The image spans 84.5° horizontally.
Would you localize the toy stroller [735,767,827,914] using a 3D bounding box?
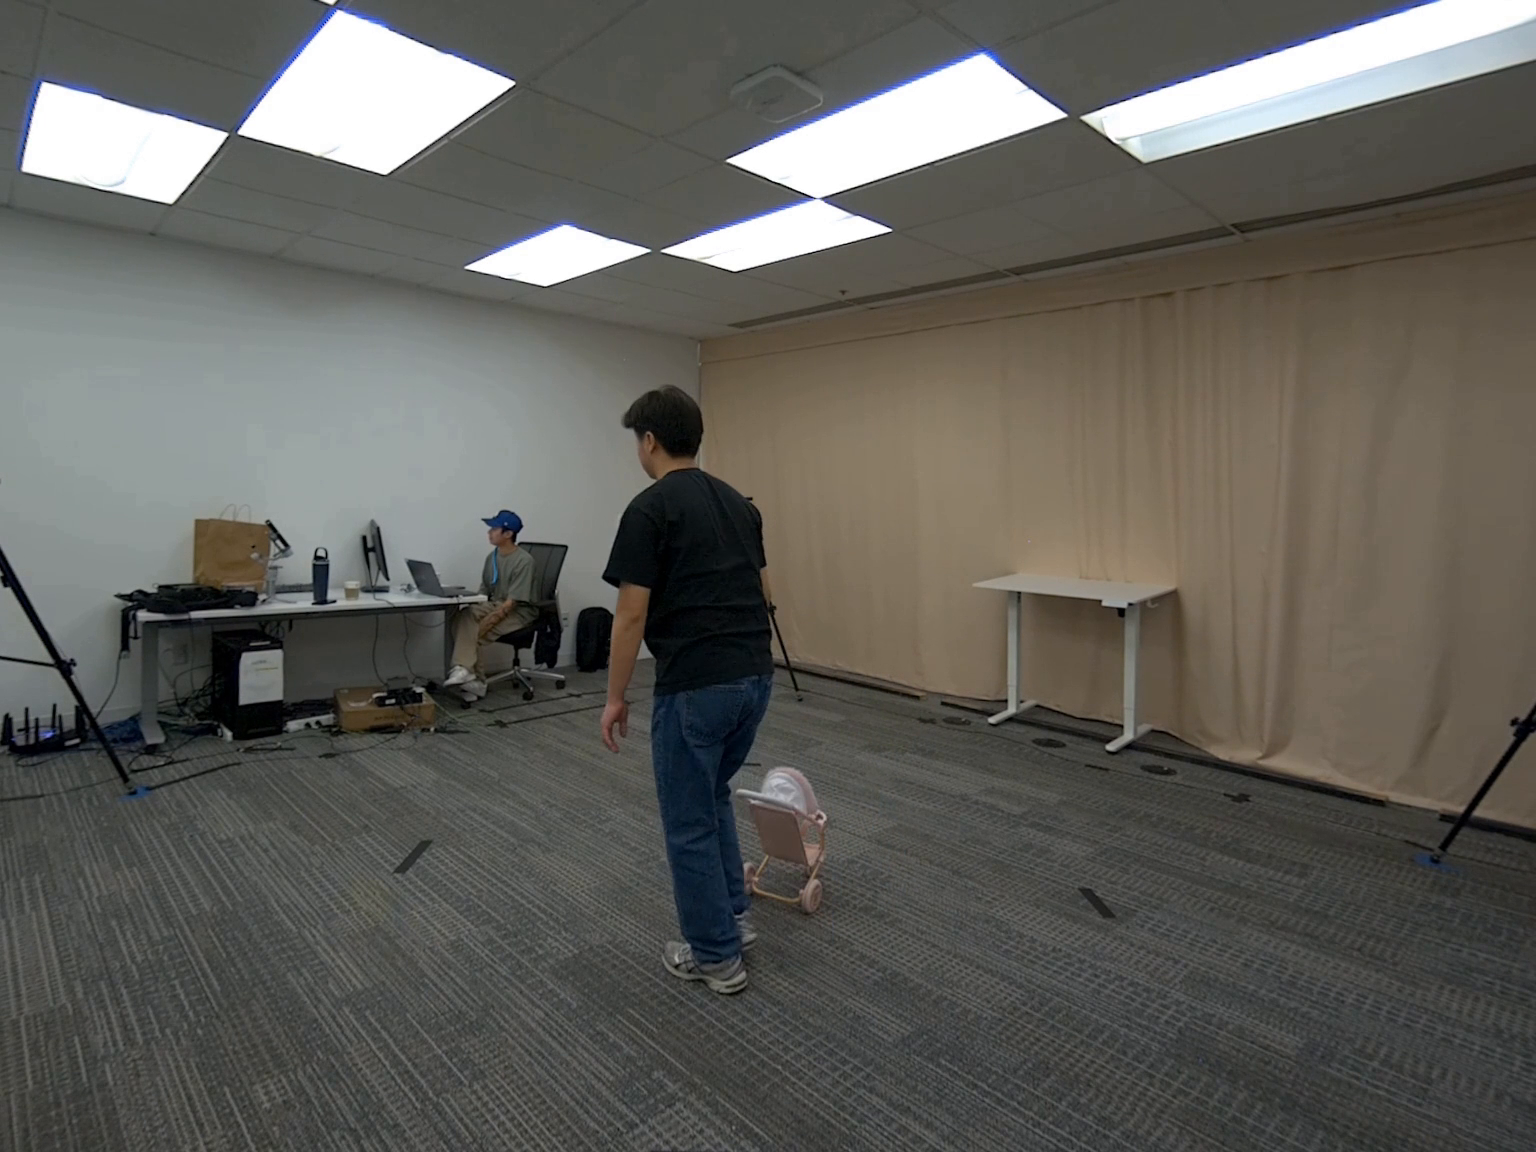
[{"bbox_3d":[0.068,0.903,2.947,0.288,0.527,0.338,4,21,33],"label":"toy stroller"}]
